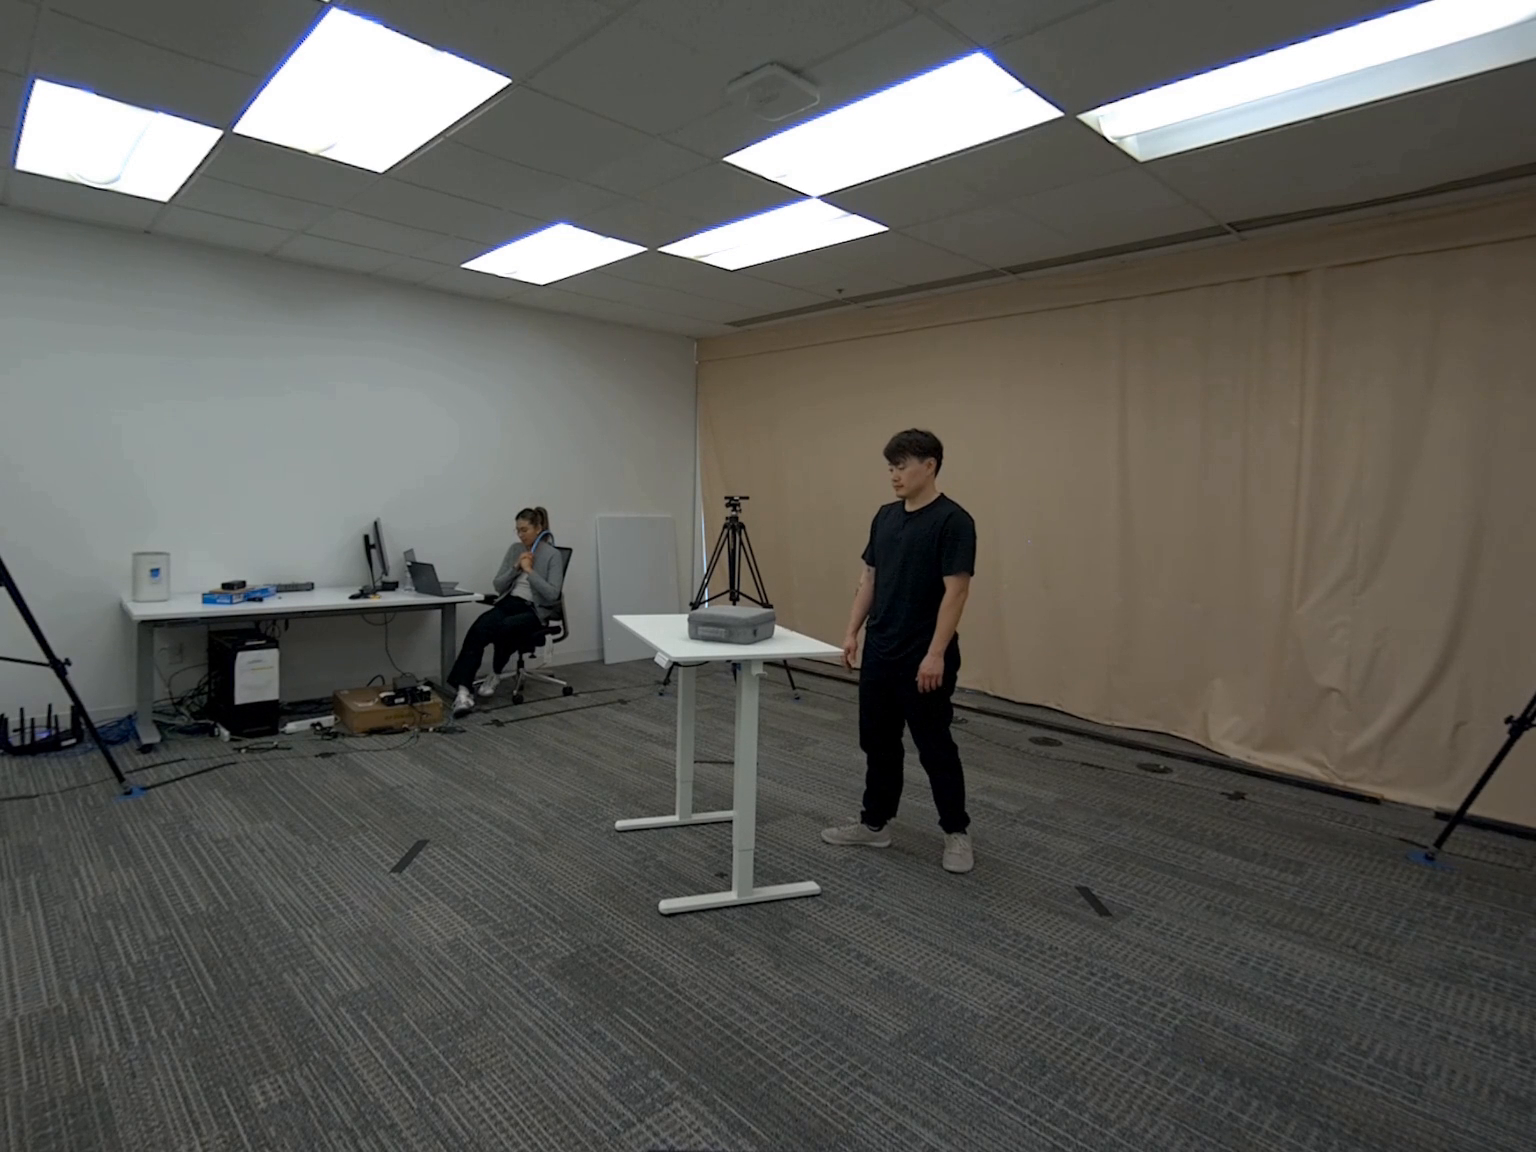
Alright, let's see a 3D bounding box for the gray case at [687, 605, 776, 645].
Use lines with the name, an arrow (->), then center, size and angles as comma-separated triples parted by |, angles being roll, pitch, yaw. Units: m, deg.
gray case -> -0.139, 0.175, 3.036 | 0.262, 0.104, 0.256 | 4, 6, 24
